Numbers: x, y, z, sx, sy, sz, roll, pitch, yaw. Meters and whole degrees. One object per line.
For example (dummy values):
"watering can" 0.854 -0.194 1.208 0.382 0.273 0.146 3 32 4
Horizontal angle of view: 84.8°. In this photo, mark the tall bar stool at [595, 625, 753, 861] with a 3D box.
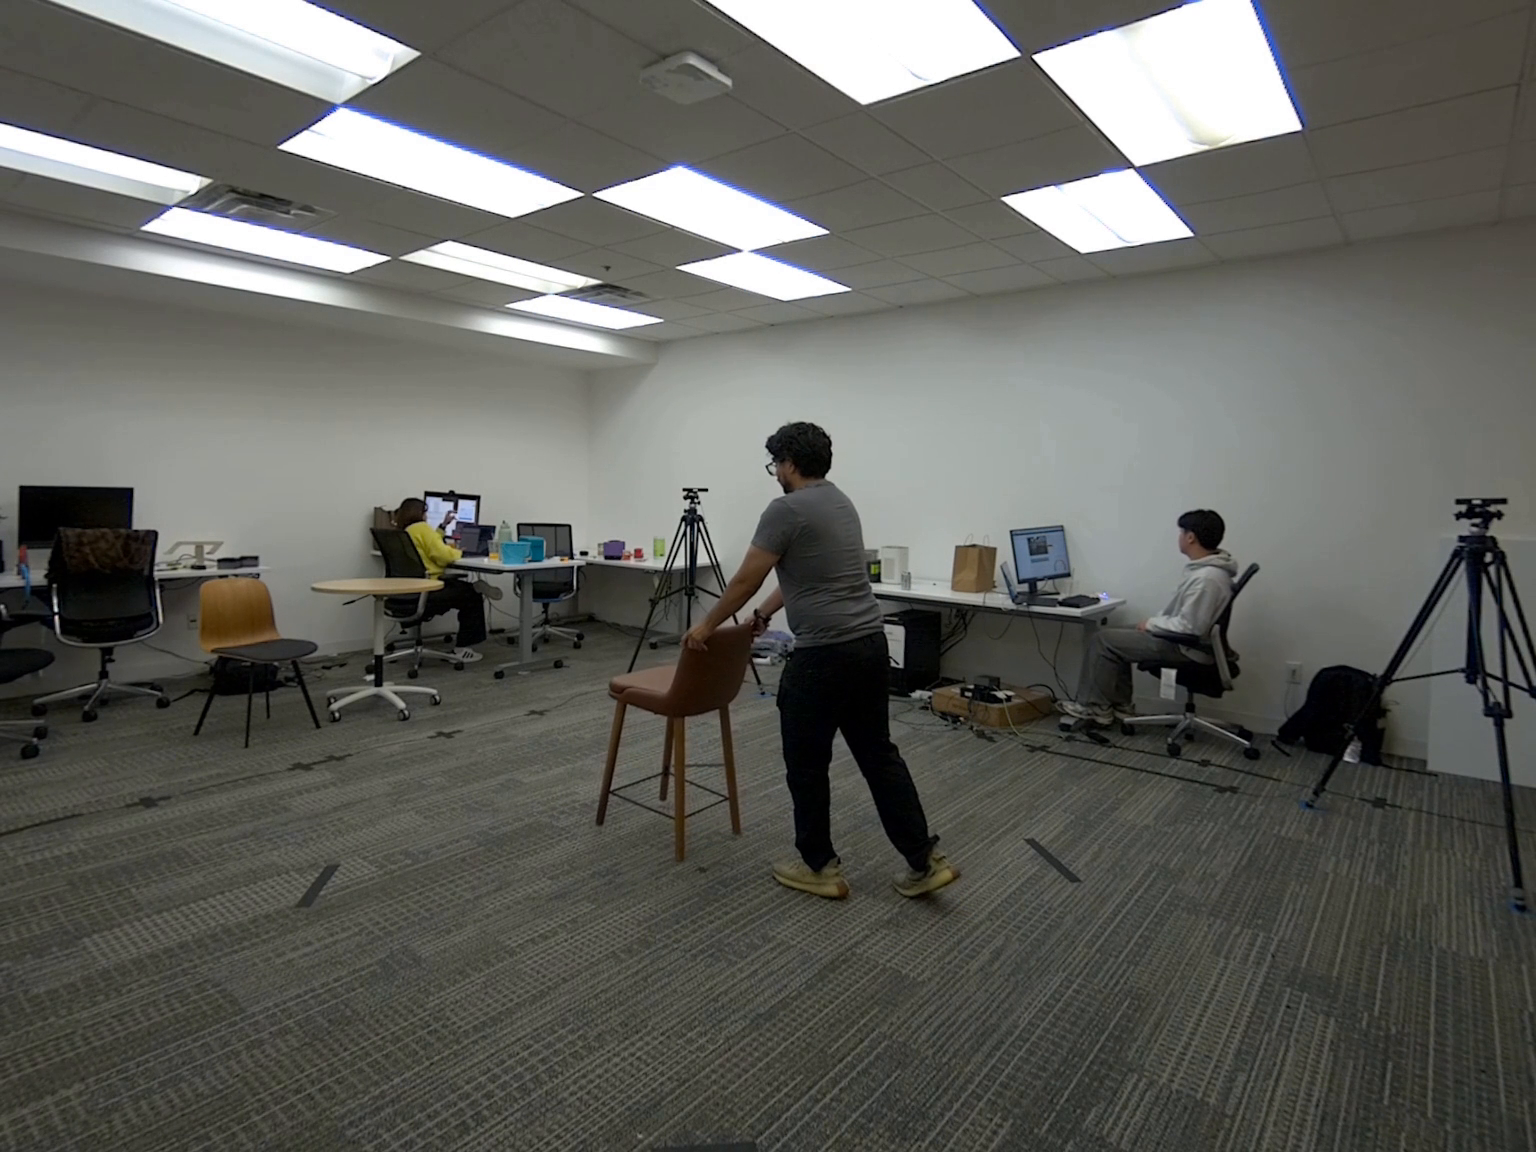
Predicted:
"tall bar stool" -0.373 0.590 3.410 0.484 0.885 0.443 10 8 37
